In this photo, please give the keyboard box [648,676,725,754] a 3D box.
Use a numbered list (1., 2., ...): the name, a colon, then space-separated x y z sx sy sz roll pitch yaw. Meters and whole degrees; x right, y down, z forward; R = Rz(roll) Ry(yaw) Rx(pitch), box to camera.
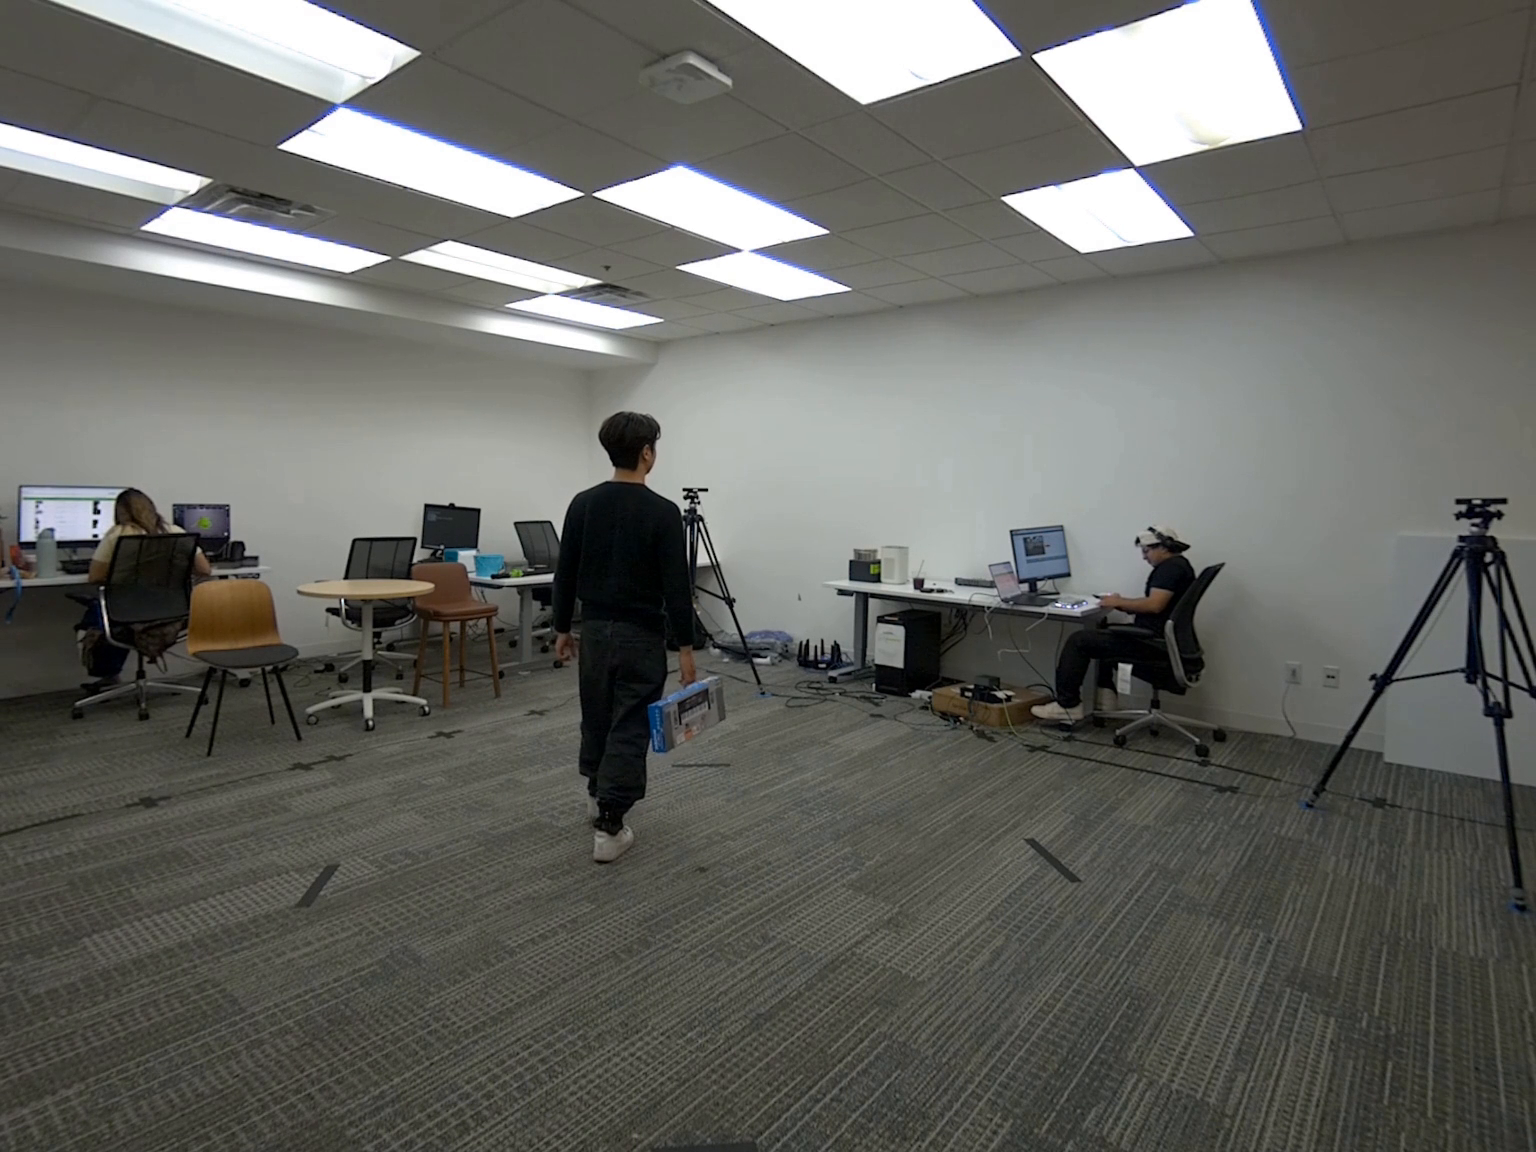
1. keyboard box: -0.315 0.518 3.233 0.060 0.175 0.428 -4 6 28
